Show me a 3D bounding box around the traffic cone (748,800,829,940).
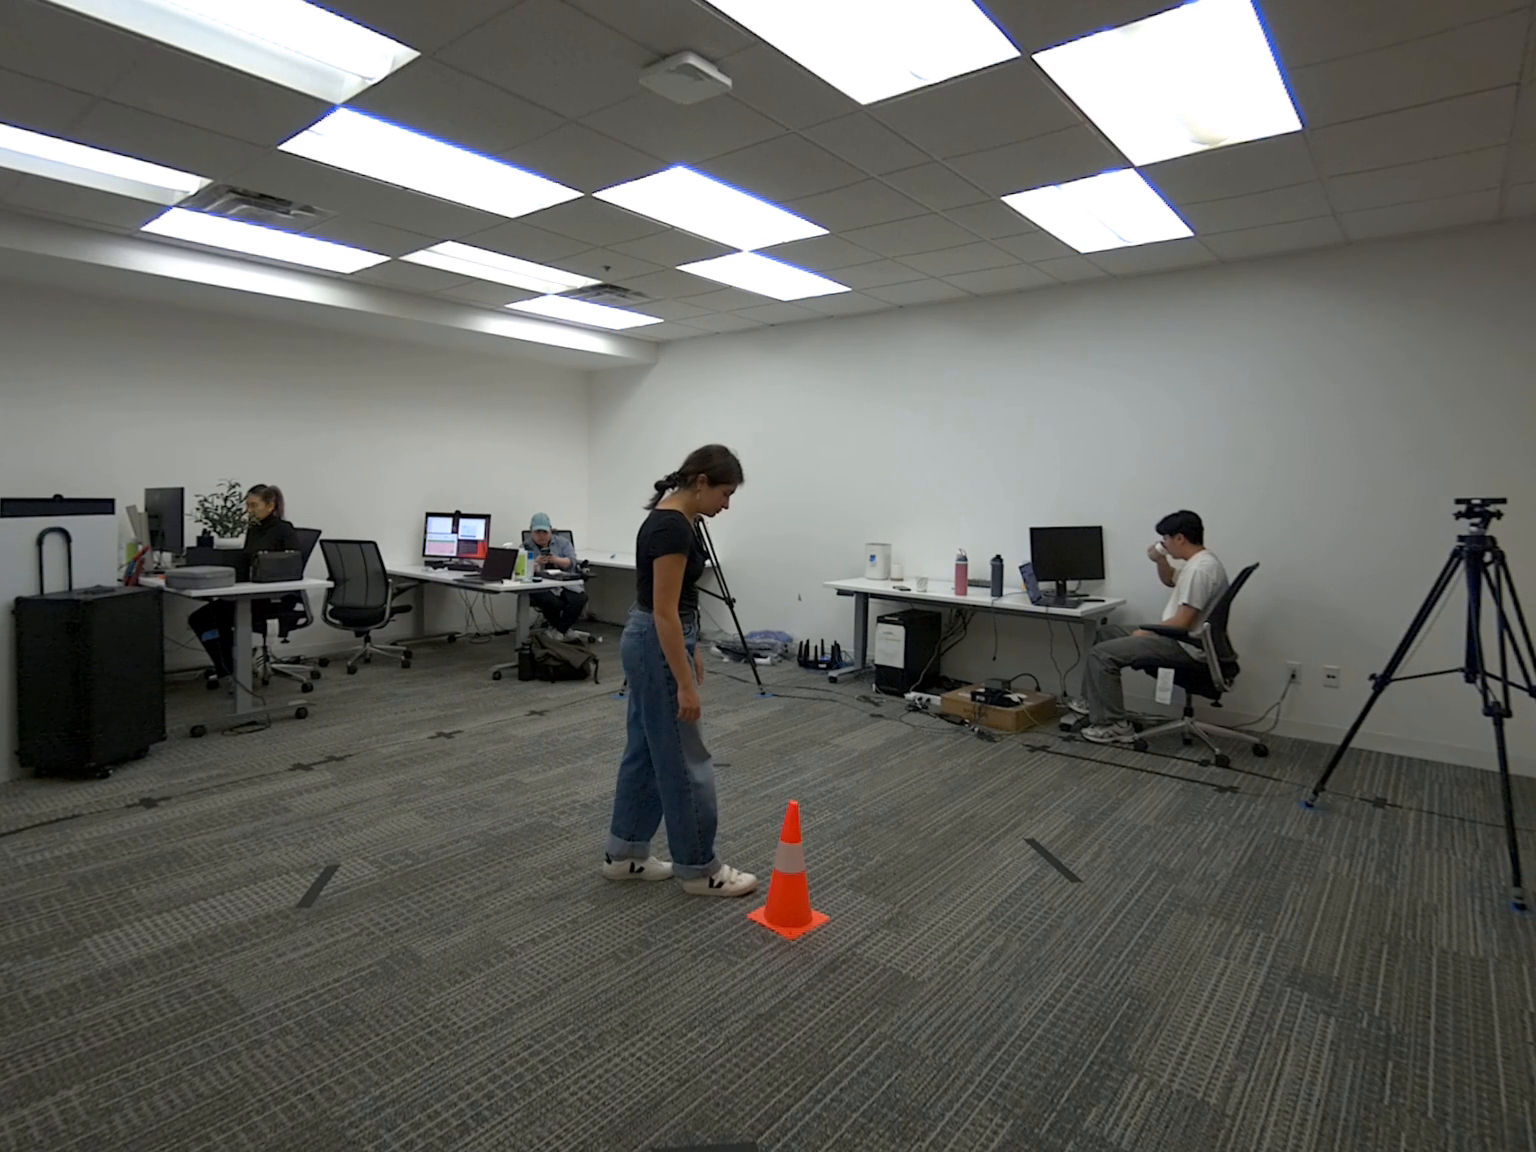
[{"bbox_3d":[0.080,0.918,2.764,0.212,0.382,0.197,6,5,42],"label":"traffic cone"}]
